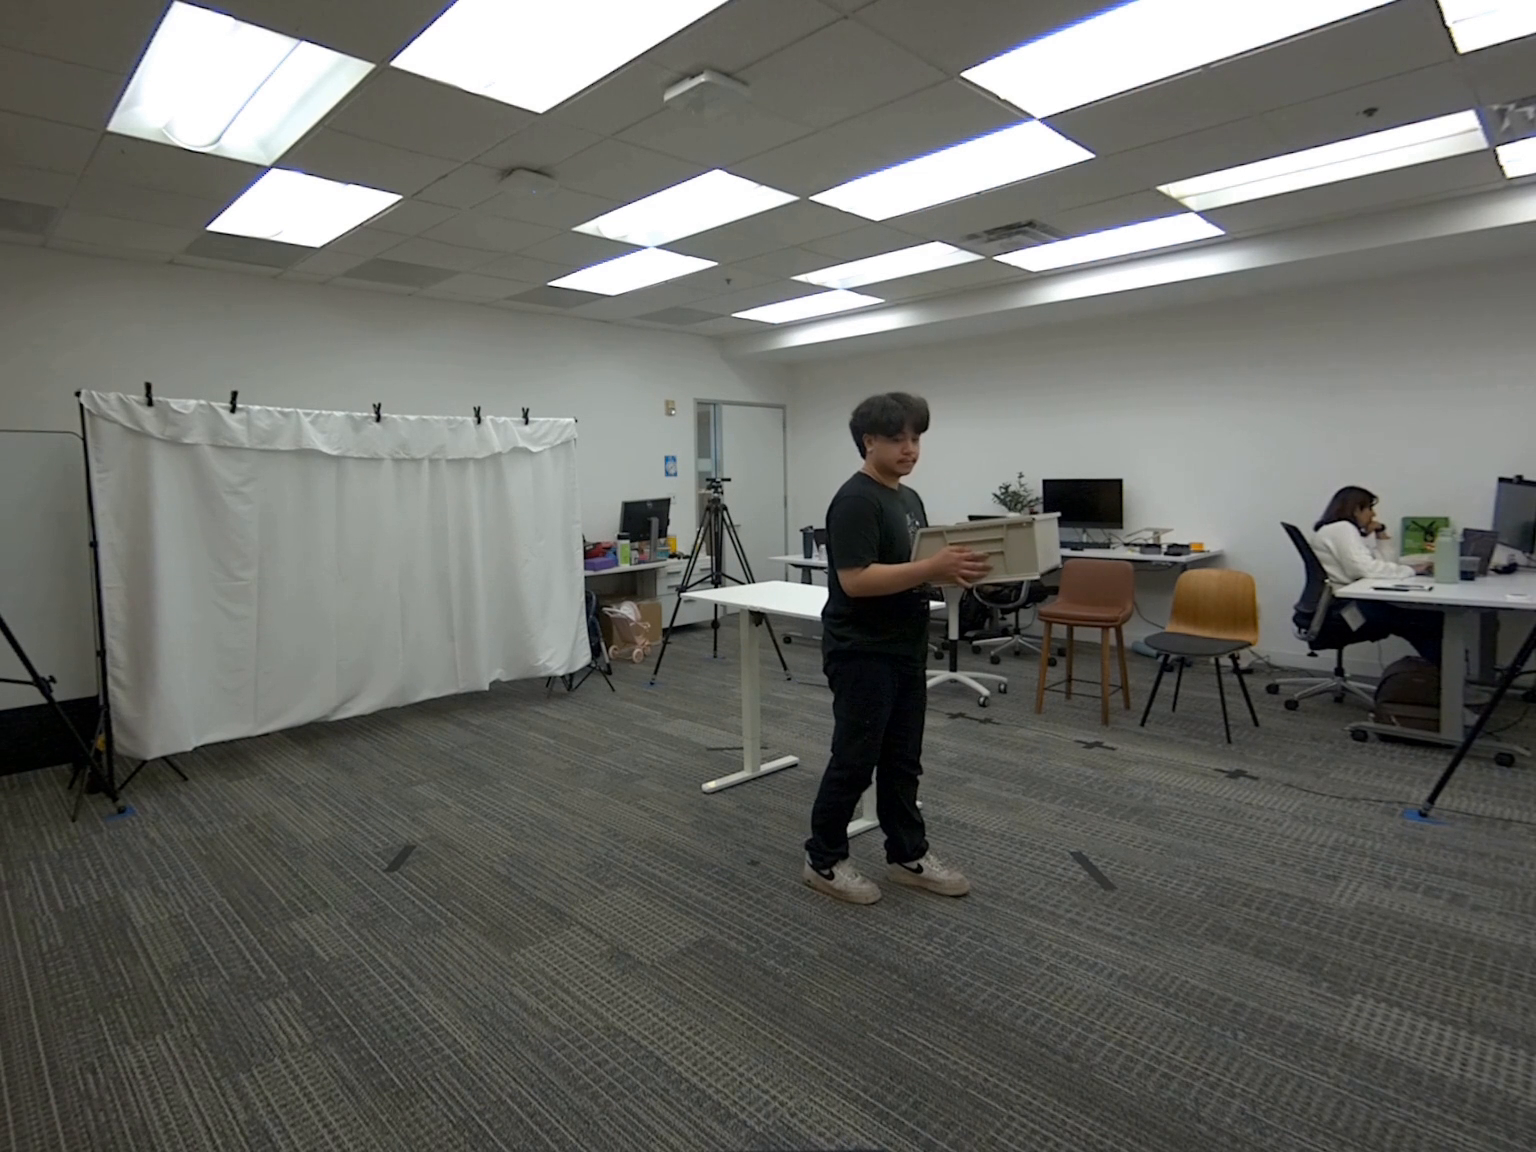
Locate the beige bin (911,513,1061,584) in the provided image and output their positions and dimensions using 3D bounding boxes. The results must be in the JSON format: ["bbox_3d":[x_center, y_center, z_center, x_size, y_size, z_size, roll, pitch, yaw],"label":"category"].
[{"bbox_3d":[0.690,-0.079,2.682,0.386,0.189,0.413,-4,3,29],"label":"beige bin"}]
